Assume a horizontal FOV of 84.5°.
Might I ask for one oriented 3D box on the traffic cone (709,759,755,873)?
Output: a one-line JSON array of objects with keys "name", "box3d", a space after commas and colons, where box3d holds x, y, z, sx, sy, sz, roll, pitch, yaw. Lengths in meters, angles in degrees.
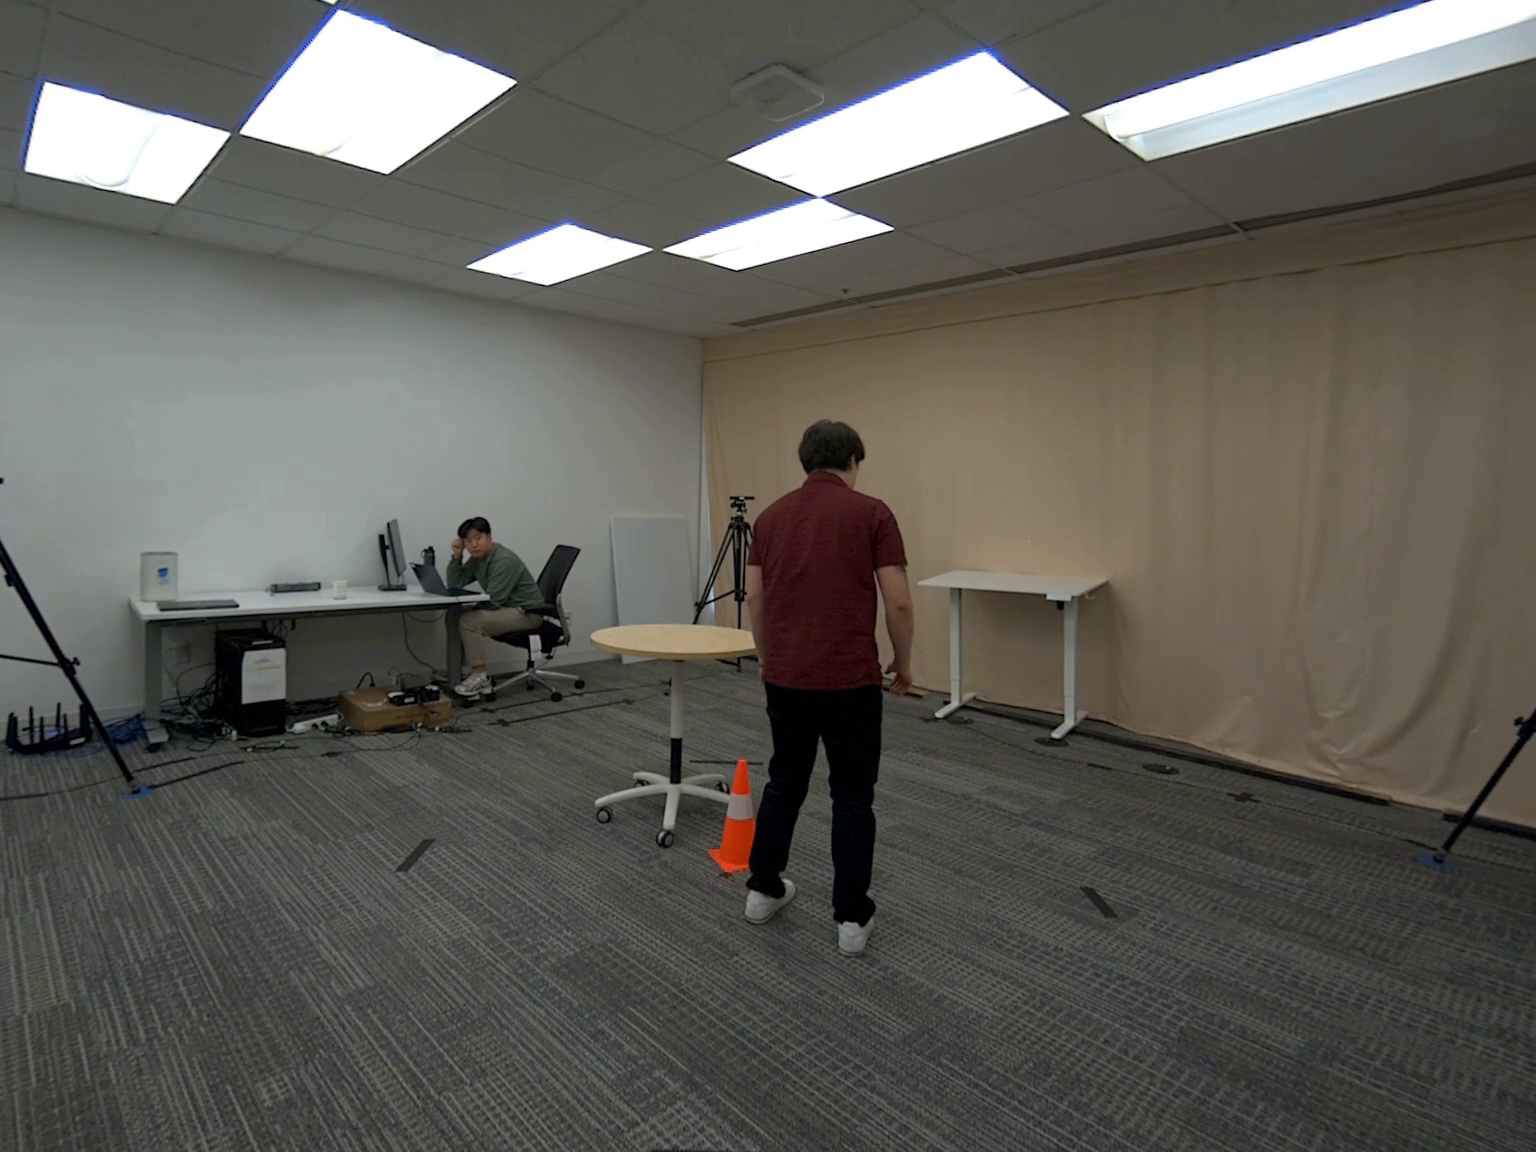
[{"name": "traffic cone", "box3d": [-0.107, 0.909, 3.249, 0.201, 0.383, 0.207, 1, 3, -24]}]
